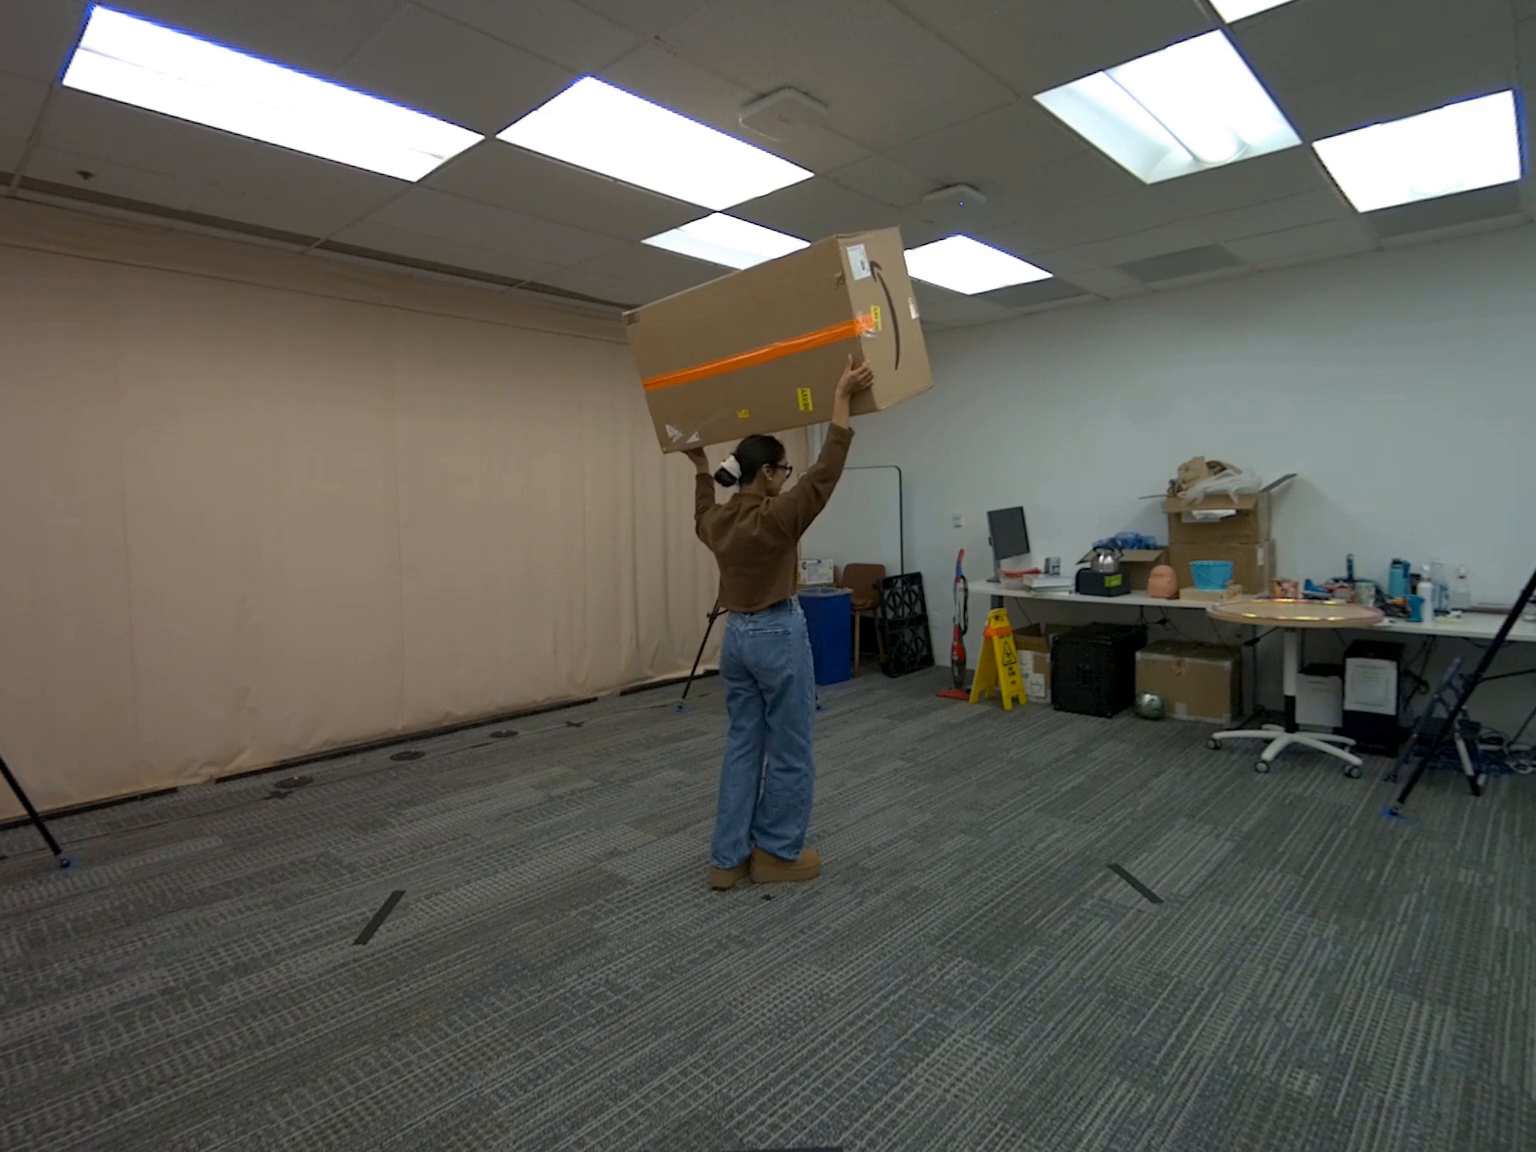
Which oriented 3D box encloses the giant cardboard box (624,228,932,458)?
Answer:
[{"bbox_3d":[0.014,-0.854,3.187,1.057,0.571,0.418,-3,19,41],"label":"giant cardboard box"}]
